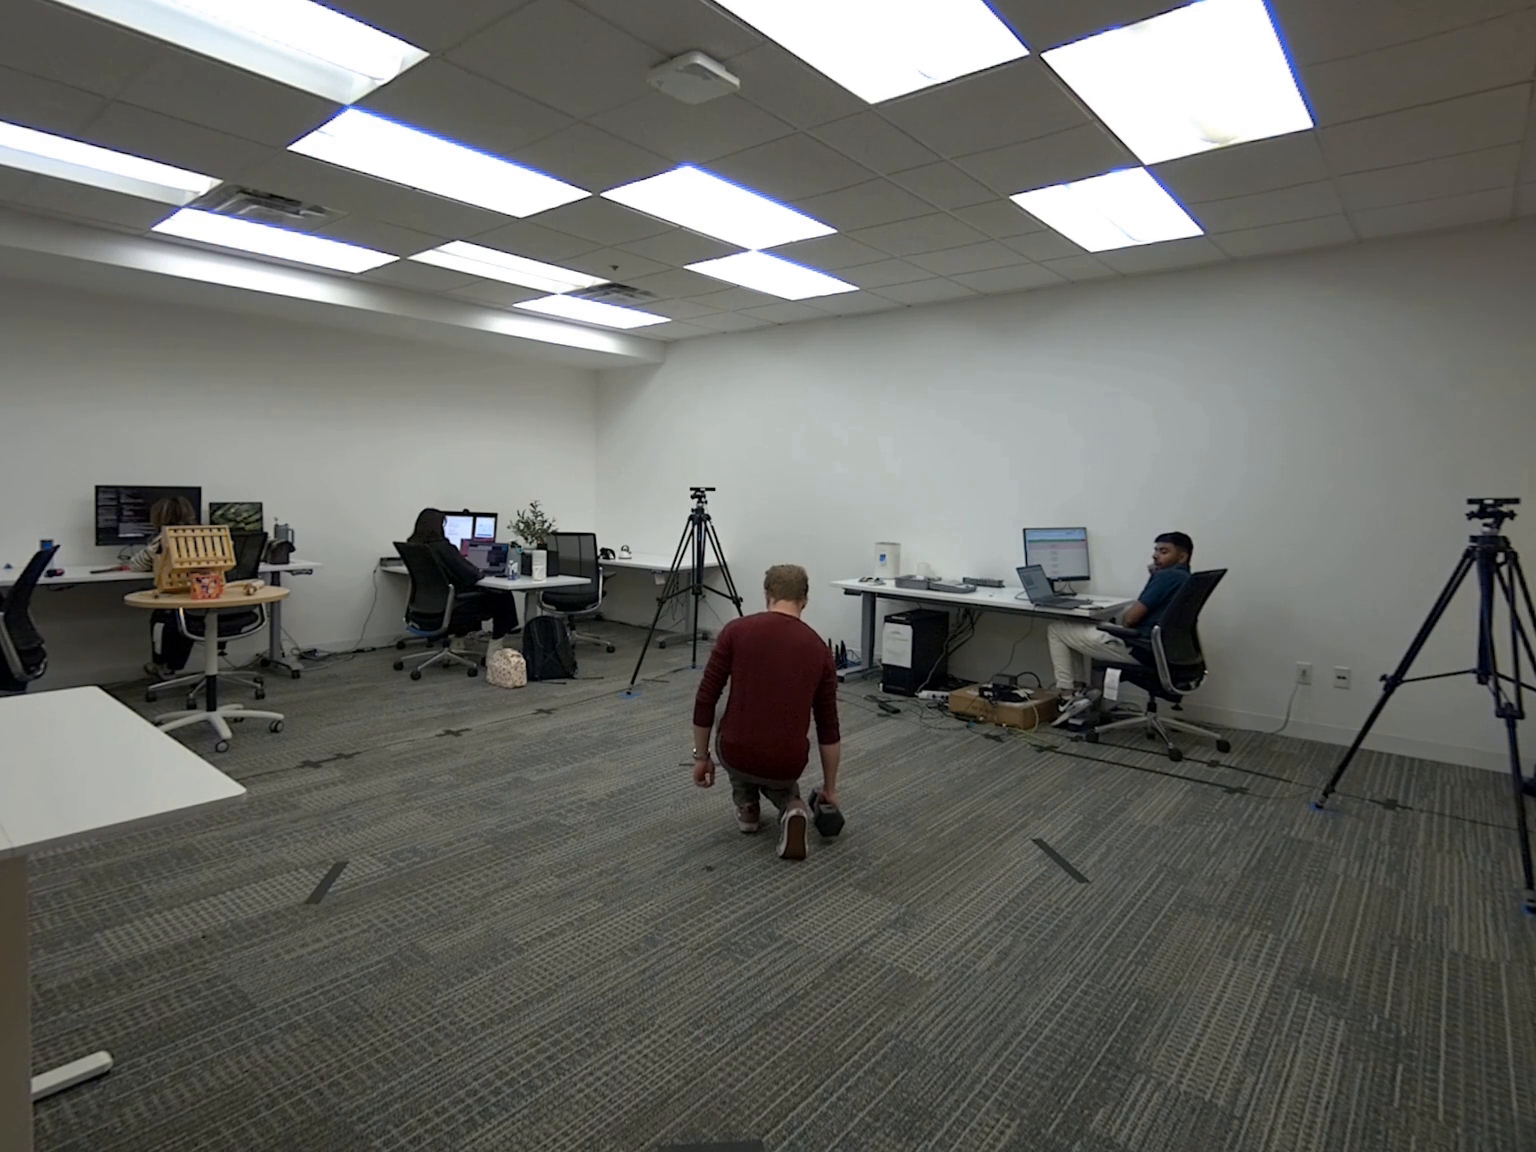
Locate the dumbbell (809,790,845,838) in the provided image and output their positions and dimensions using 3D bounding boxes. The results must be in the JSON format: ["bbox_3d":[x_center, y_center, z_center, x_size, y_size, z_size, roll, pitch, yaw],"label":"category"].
[{"bbox_3d":[0.223,0.954,3.465,0.109,0.122,0.295,-34,7,1],"label":"dumbbell"}]
